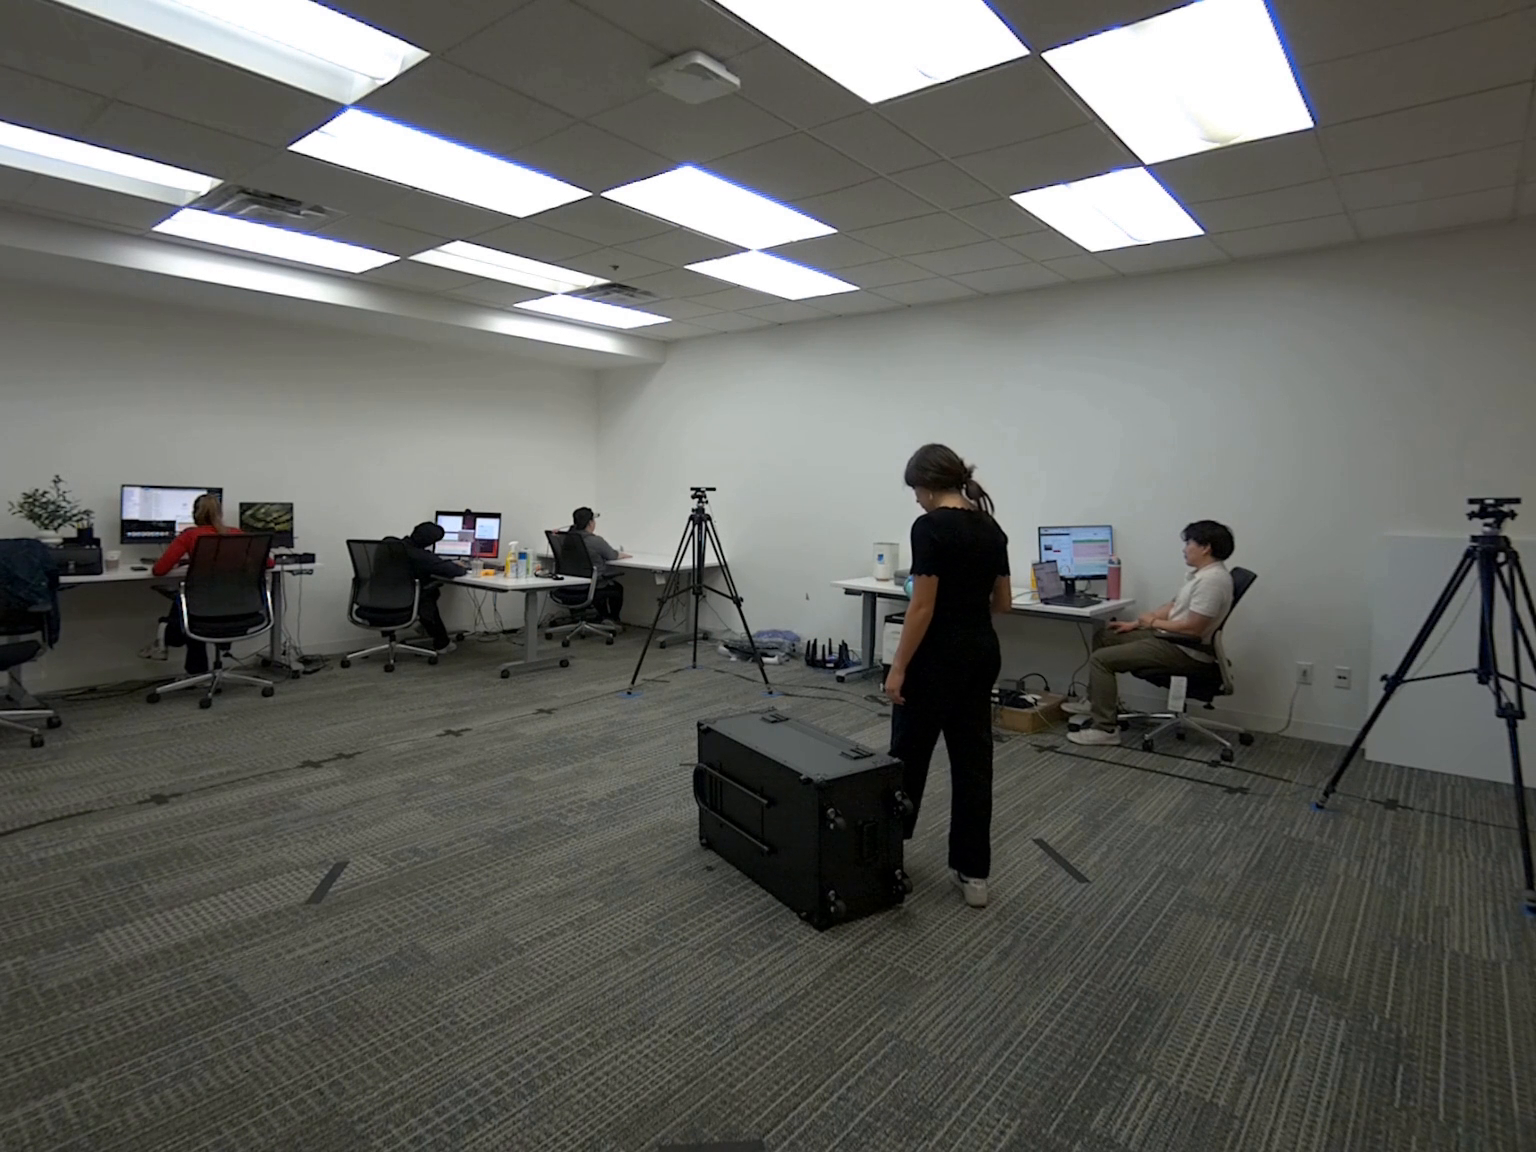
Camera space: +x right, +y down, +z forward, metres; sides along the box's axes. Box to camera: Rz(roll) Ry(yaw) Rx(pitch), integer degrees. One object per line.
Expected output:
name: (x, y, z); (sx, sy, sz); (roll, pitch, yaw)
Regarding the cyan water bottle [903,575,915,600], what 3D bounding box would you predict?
cyan water bottle: (0.590, 0.069, 3.323); (0.091, 0.091, 0.290); (0, 17, -12)
